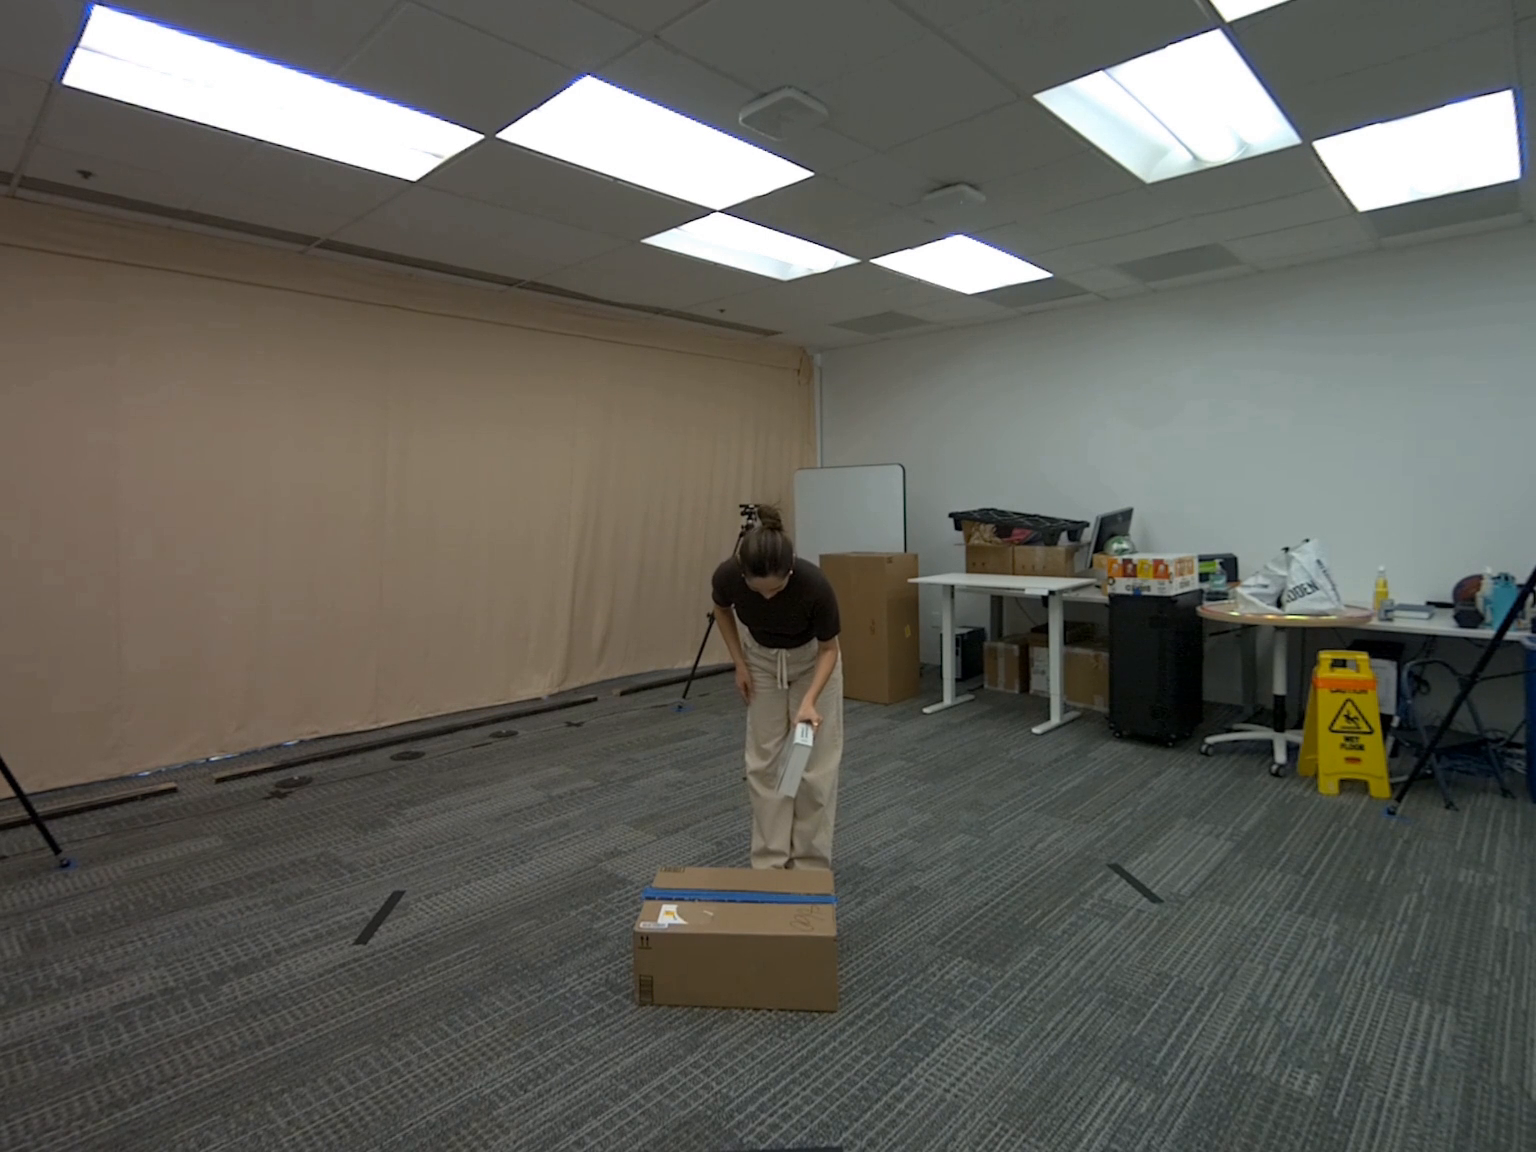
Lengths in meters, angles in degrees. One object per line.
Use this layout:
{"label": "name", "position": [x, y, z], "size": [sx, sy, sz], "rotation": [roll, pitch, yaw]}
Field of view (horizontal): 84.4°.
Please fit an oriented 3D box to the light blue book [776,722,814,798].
{"label": "light blue book", "position": [0.092, 0.564, 2.715], "size": [0.059, 0.190, 0.261], "rotation": [15, 14, 1]}
